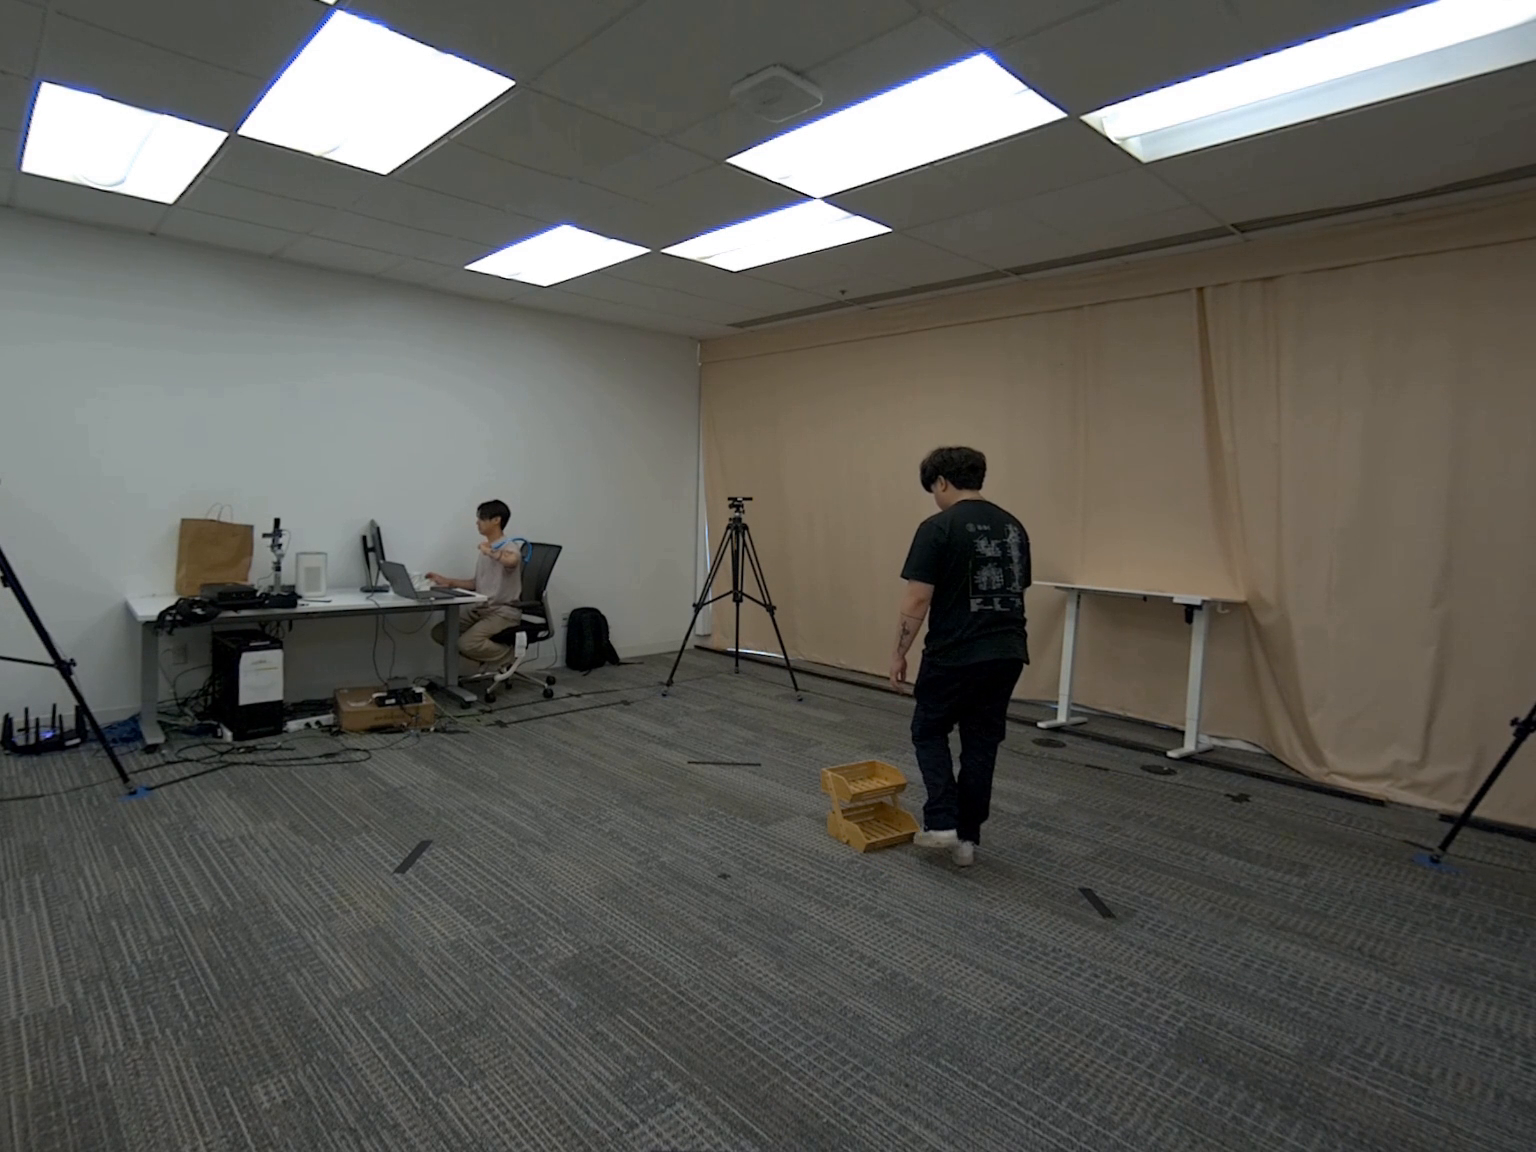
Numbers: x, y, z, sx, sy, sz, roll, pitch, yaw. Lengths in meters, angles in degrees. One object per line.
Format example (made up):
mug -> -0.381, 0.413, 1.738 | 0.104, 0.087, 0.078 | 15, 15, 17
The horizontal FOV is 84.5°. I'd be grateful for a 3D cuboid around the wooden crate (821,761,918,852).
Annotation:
wooden crate -> 0.423, 0.951, 3.529 | 0.317, 0.273, 0.309 | -1, 4, -33
